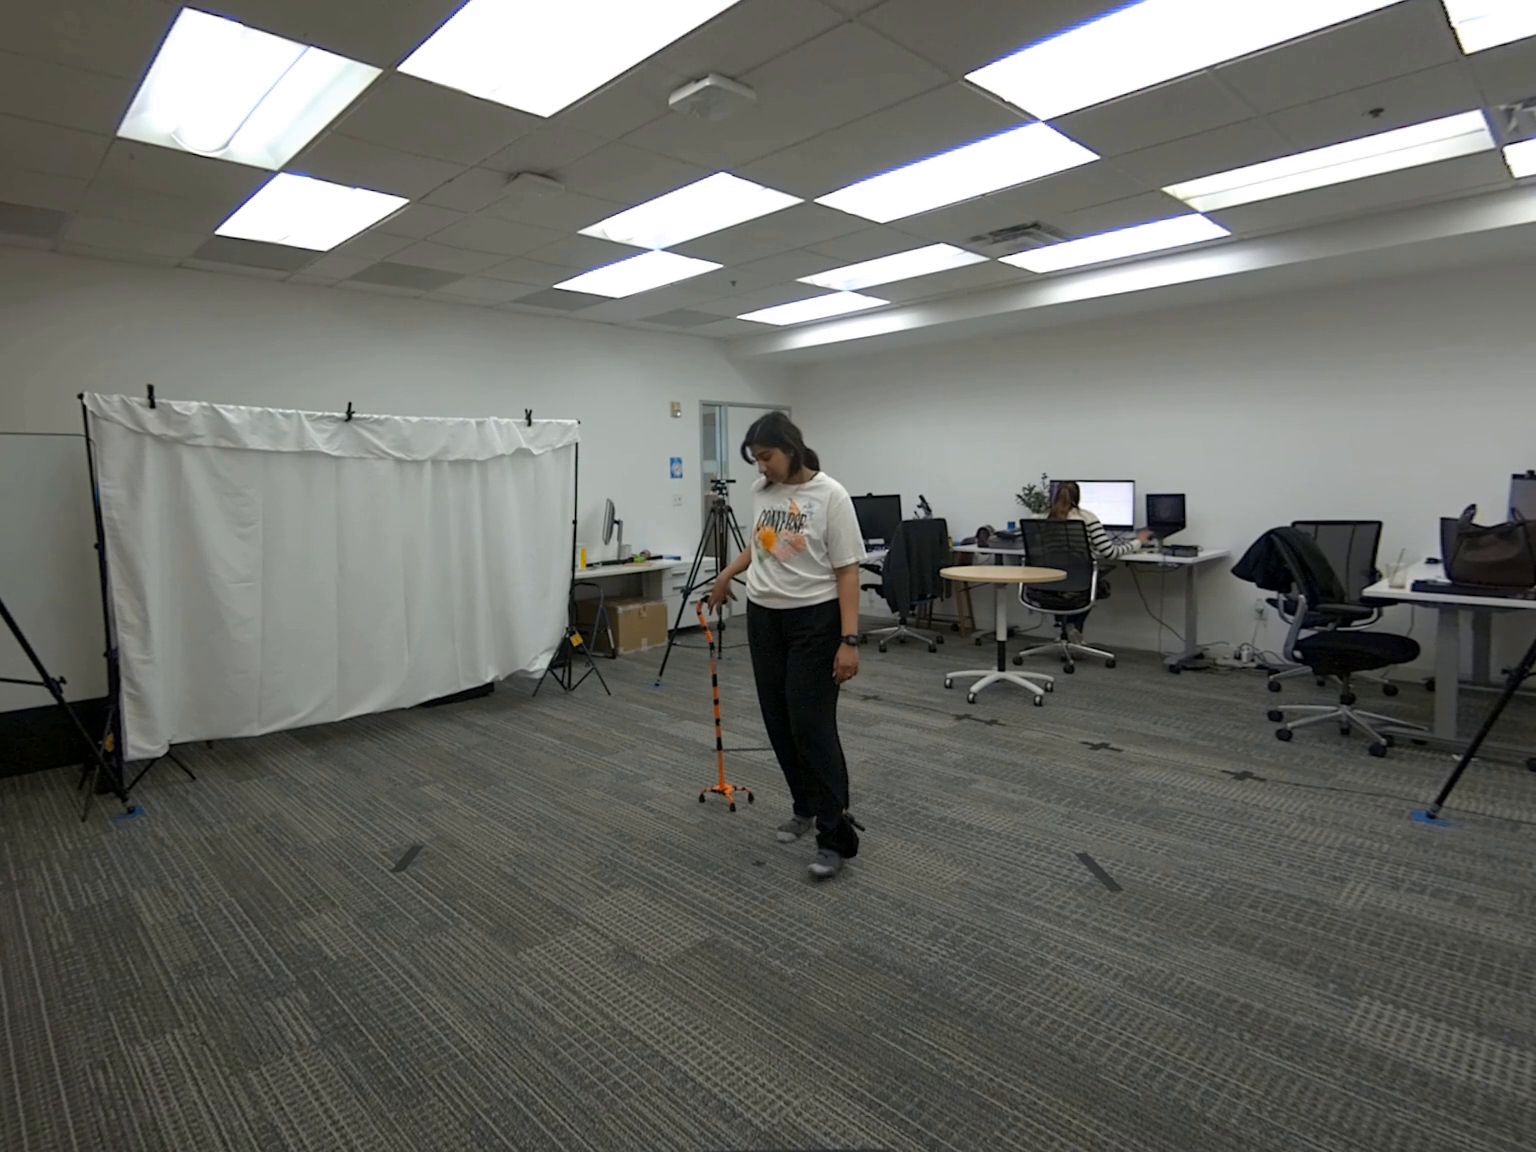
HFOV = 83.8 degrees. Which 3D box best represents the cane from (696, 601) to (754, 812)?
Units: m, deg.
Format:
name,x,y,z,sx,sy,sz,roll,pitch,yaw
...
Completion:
name,x,y,z,sx,sy,sz,roll,pitch,yaw
cane,-0.207,0.534,3.670,0.212,0.902,0.148,2,8,41
